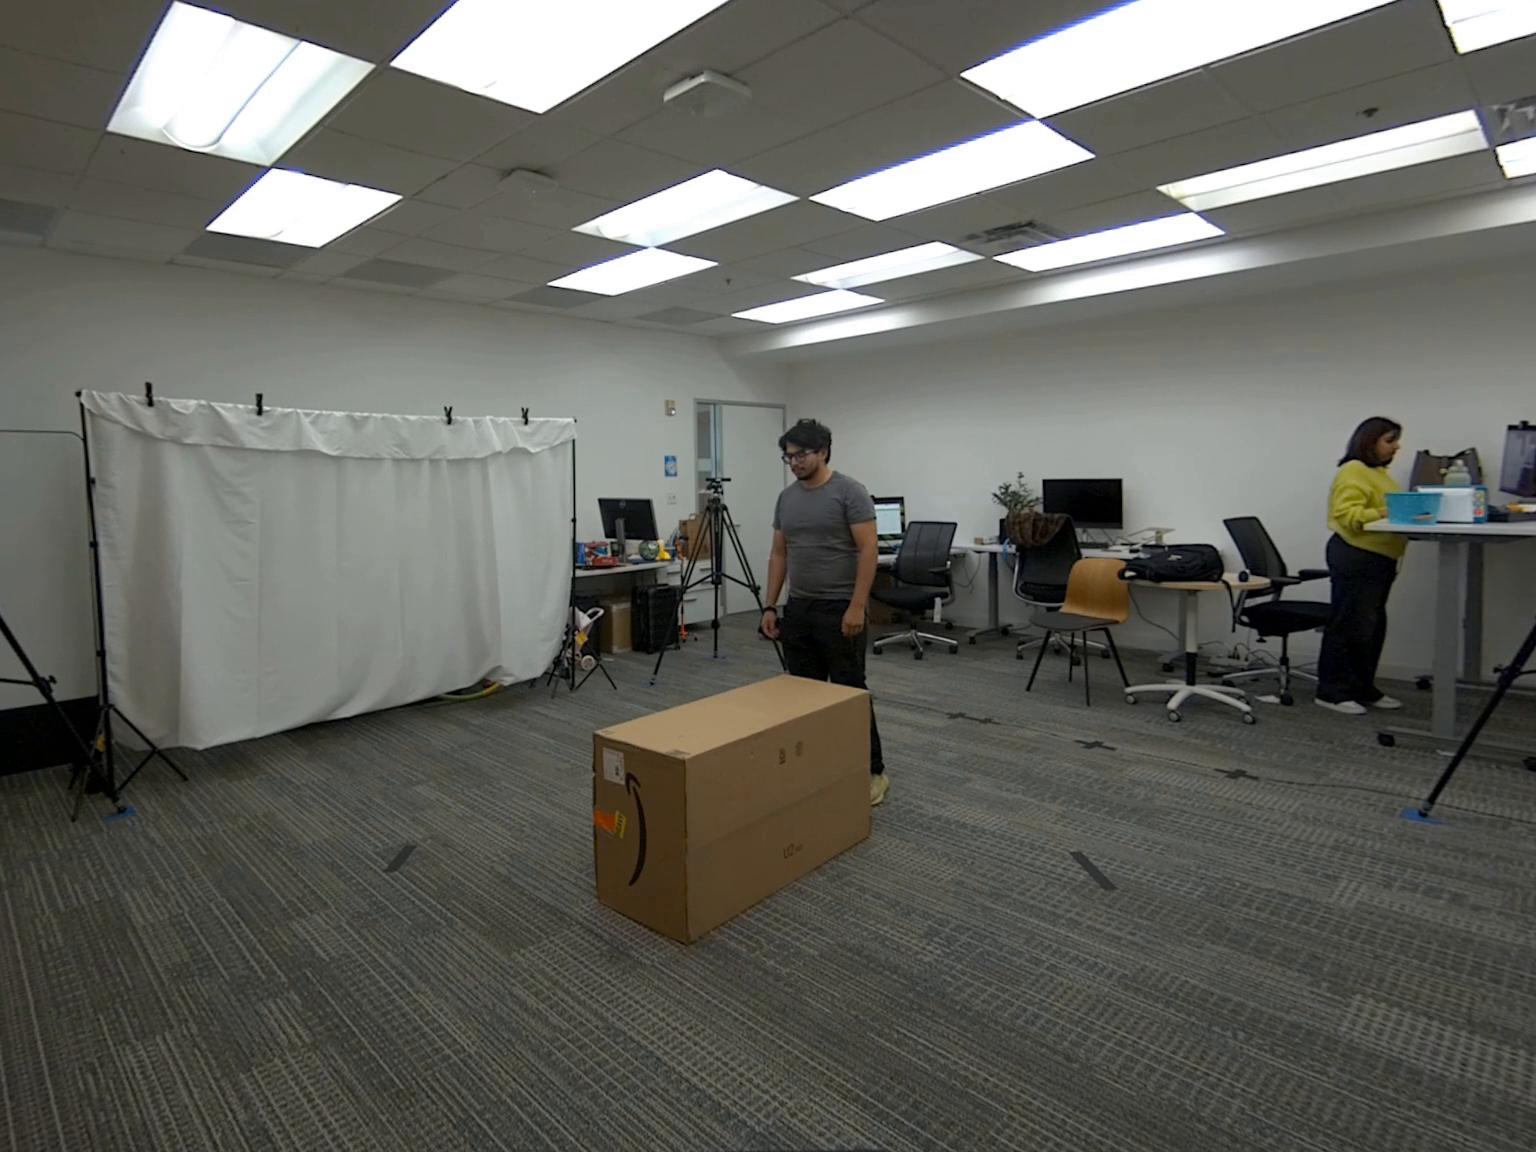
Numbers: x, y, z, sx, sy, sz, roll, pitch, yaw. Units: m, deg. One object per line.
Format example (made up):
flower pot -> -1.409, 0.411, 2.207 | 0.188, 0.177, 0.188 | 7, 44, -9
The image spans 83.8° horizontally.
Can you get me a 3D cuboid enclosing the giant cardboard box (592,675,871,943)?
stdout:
giant cardboard box -> -0.096, 0.757, 3.059 | 0.439, 0.575, 1.000 | 3, 7, 40
